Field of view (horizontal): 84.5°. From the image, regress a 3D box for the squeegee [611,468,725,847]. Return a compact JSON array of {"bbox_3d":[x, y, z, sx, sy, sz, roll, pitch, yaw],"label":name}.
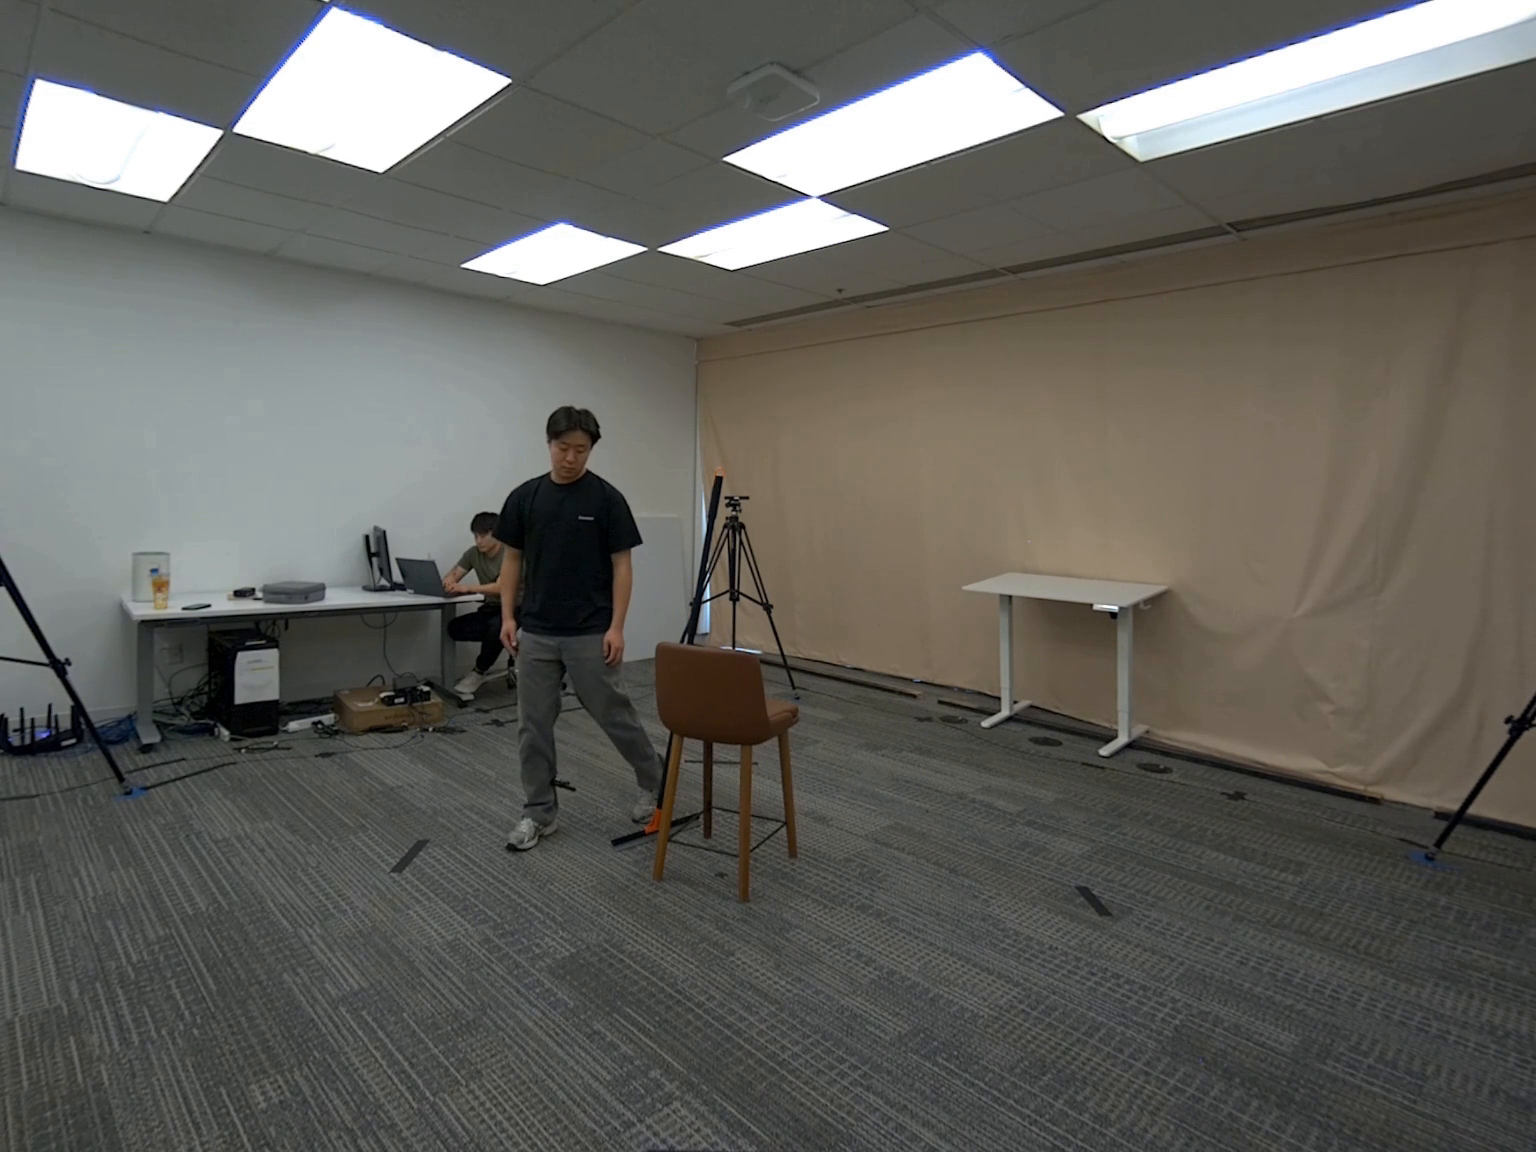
[{"bbox_3d":[-0.320,0.333,3.247,0.427,1.526,0.054,-2,17,-42],"label":"squeegee"}]
